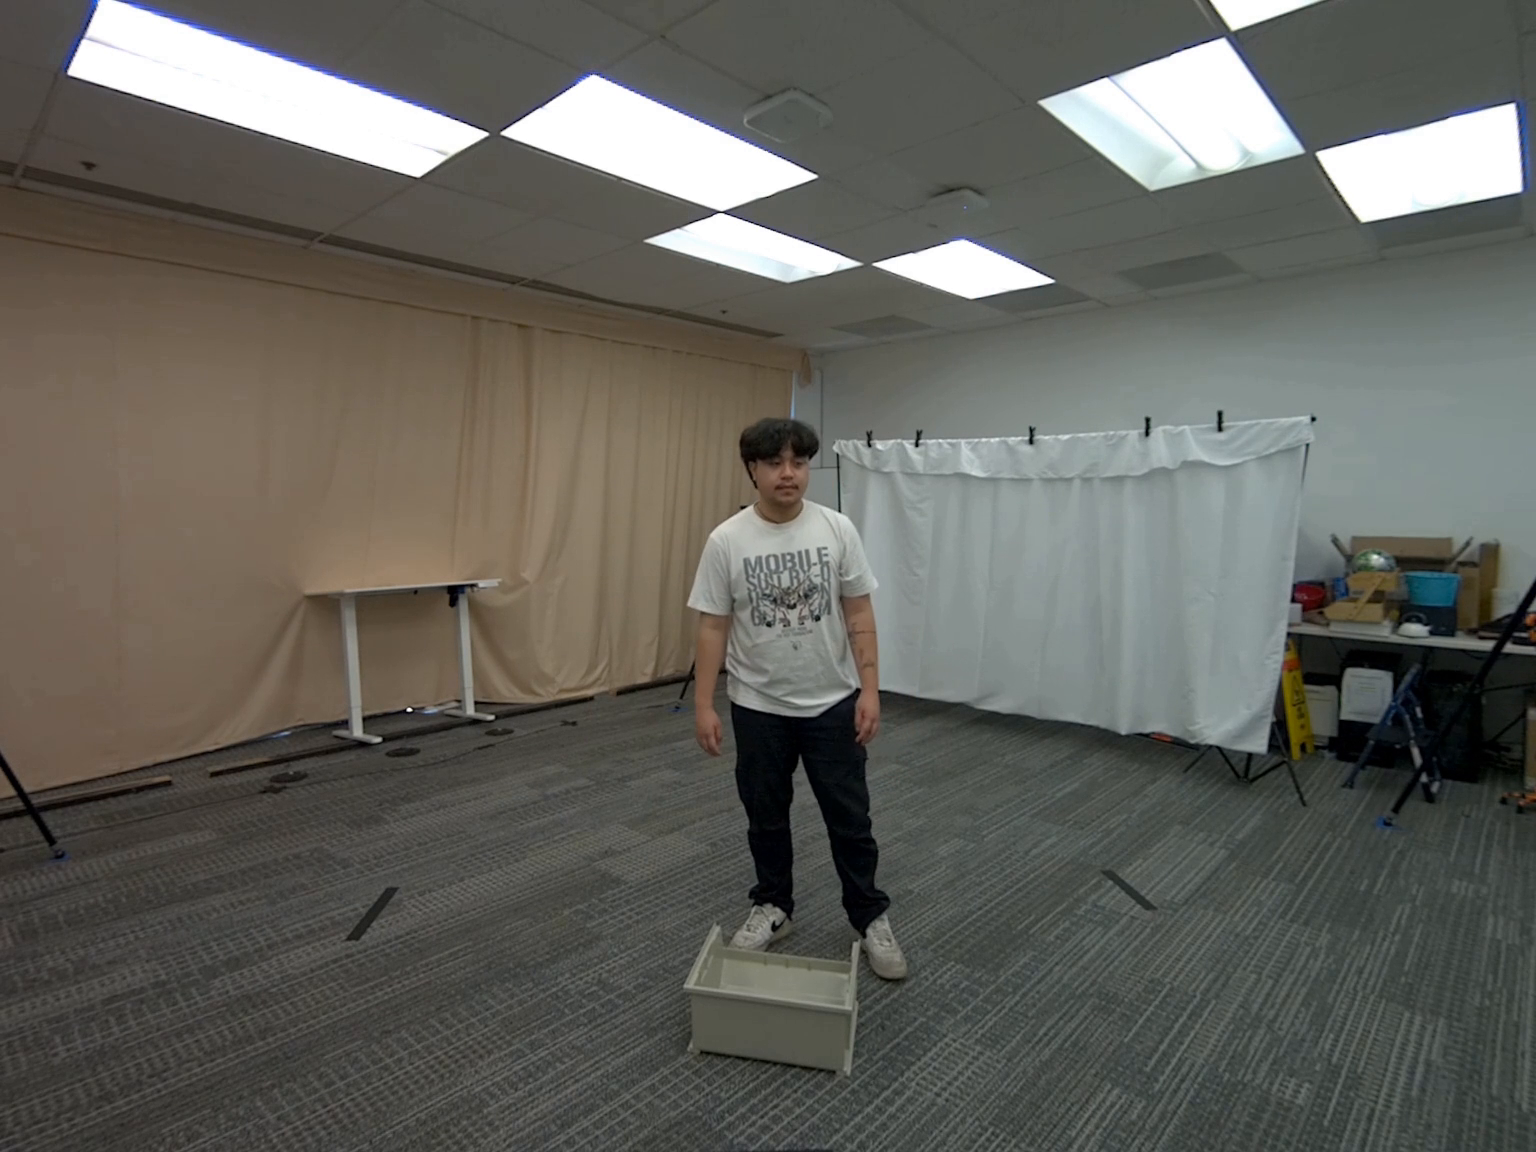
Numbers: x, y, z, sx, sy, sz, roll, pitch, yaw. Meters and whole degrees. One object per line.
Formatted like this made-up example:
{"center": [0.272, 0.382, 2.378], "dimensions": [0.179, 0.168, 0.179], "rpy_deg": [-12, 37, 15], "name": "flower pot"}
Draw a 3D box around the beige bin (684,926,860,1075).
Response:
{"center": [0.029, 1.116, 2.263], "dimensions": [0.428, 0.188, 0.373], "rpy_deg": [2, 6, 11], "name": "beige bin"}
